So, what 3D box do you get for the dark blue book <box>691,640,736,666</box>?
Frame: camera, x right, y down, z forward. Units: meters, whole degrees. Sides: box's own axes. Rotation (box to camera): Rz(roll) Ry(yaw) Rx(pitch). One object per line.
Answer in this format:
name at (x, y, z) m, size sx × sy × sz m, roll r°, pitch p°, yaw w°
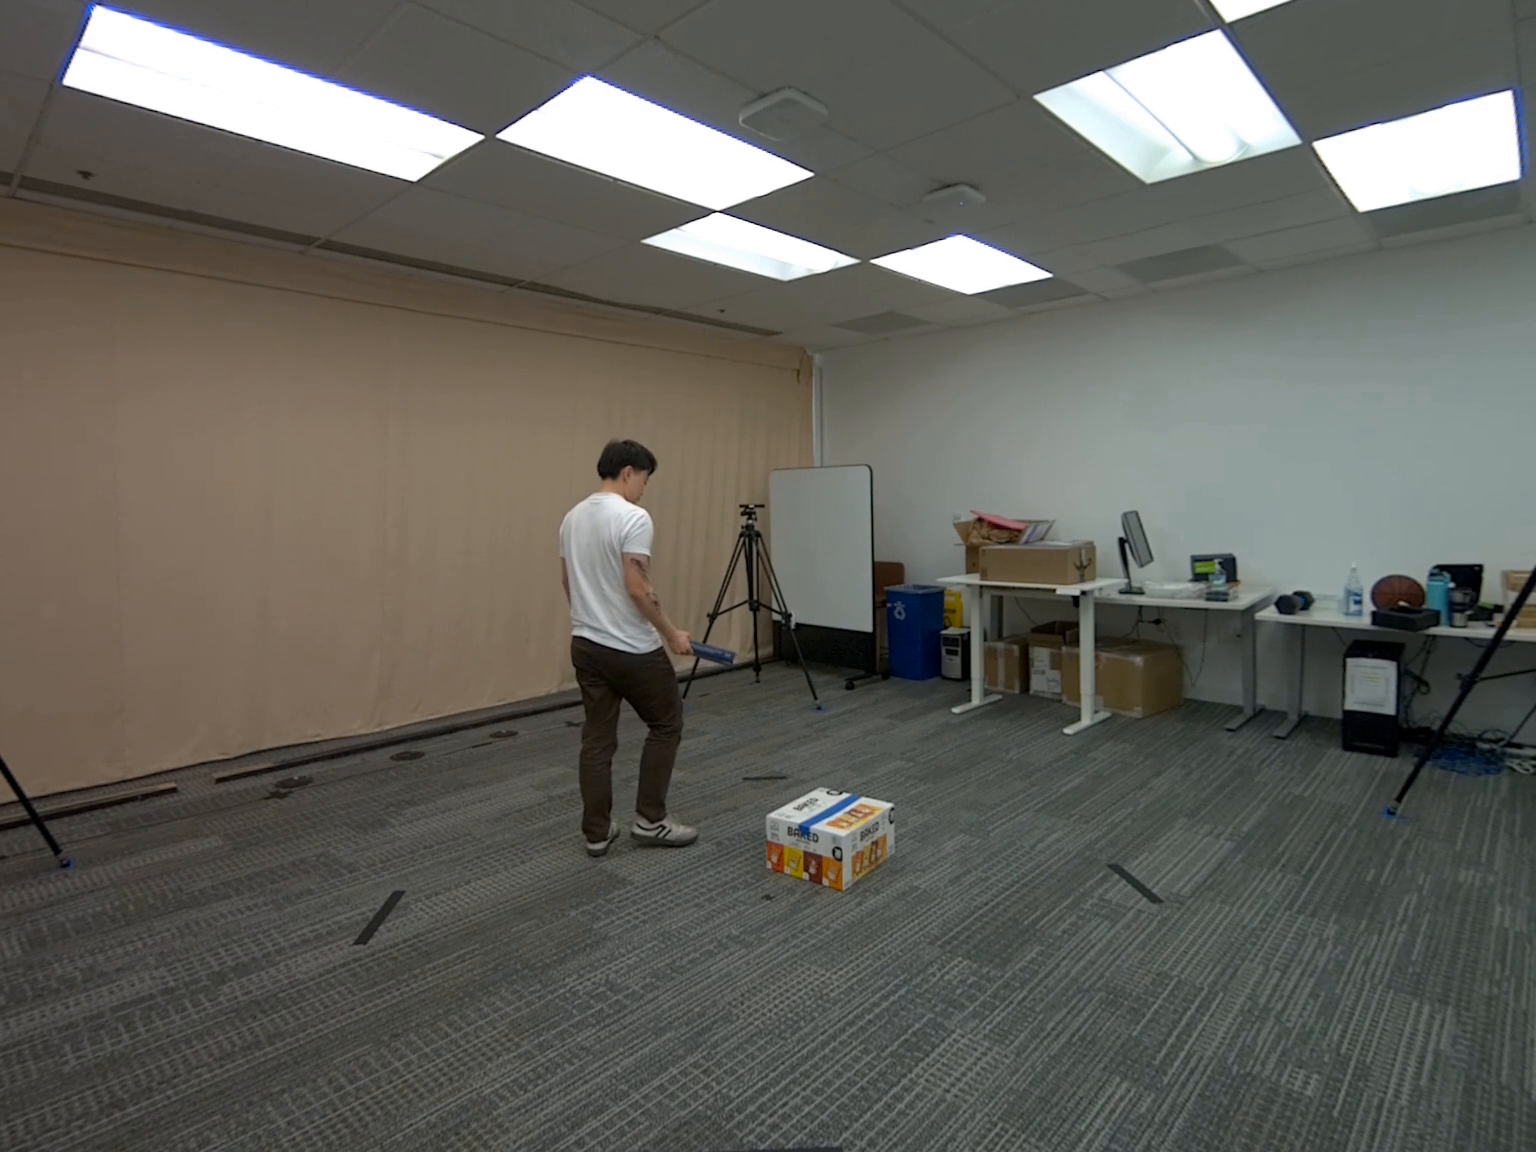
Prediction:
dark blue book at (-0.251, 0.308, 3.420) m, size 0.245 × 0.045 × 0.163 m, roll 16°, pitch -12°, yaw -1°
